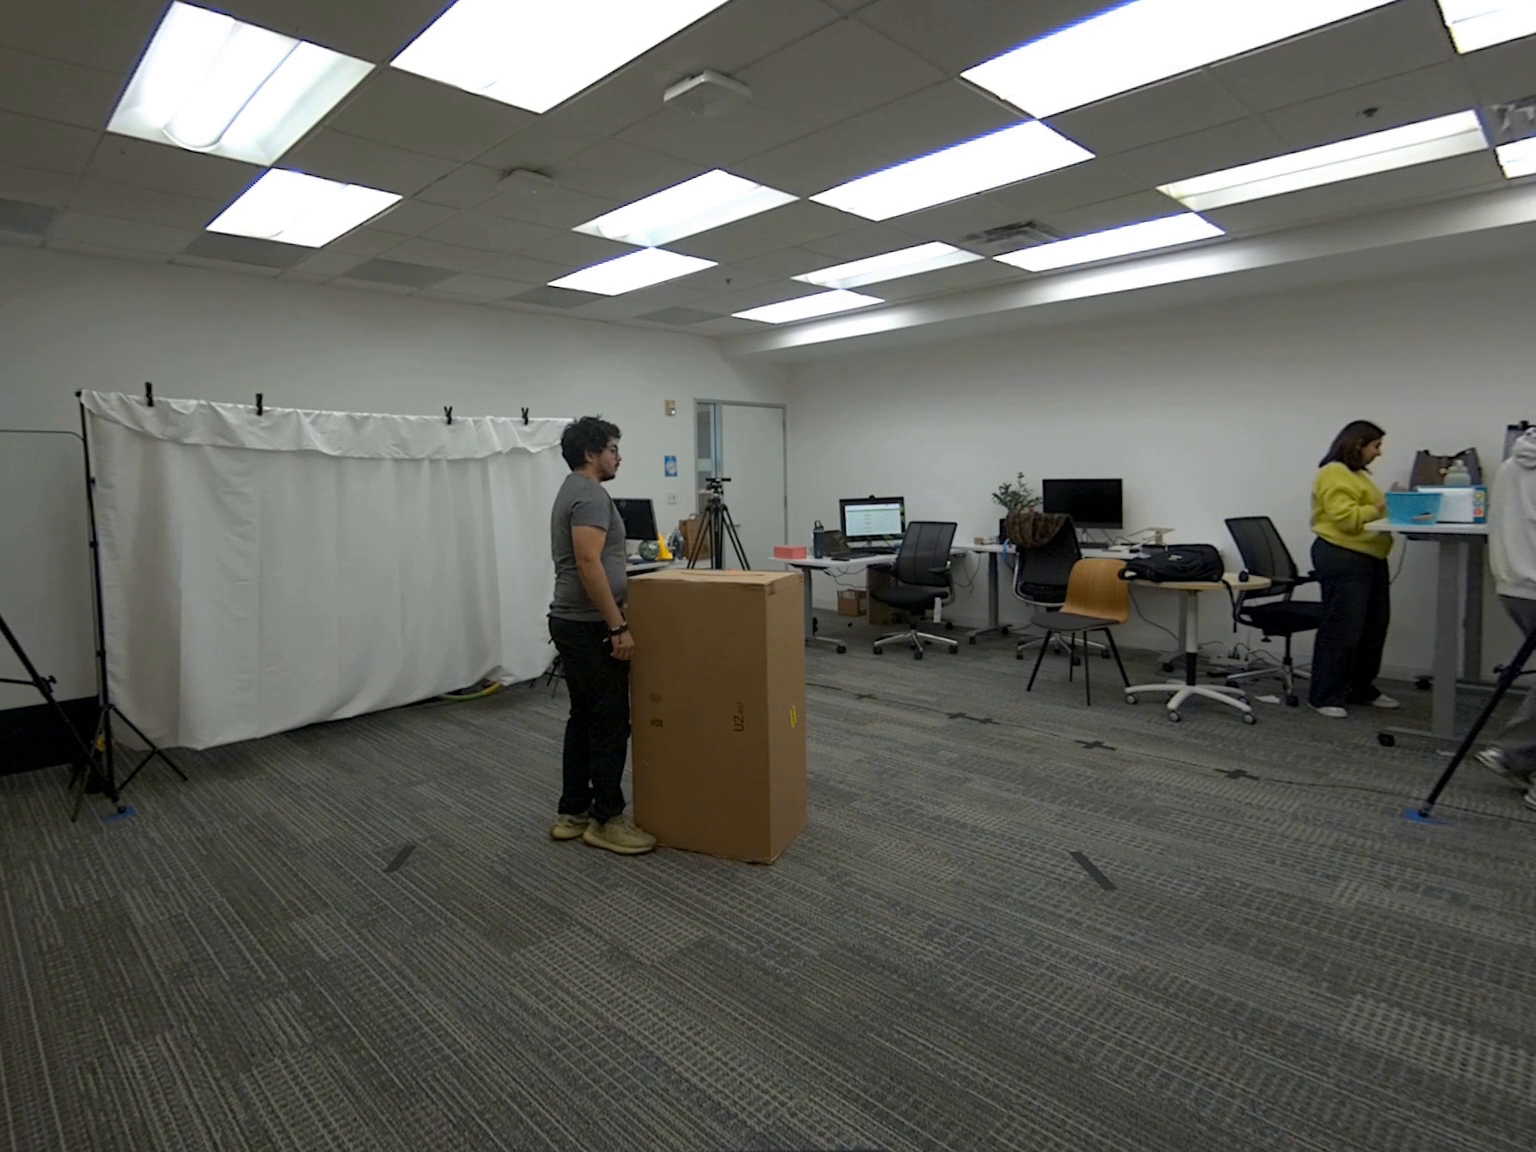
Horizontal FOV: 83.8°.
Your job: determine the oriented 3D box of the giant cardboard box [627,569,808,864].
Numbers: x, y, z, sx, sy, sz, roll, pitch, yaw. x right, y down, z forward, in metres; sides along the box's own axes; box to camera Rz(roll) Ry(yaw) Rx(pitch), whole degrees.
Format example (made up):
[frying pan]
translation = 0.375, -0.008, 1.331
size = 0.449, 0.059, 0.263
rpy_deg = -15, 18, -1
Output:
[giant cardboard box]
translation = -0.186, 0.508, 3.360
size = 0.596, 1.024, 0.439
rpy_deg = 1, 4, 22
